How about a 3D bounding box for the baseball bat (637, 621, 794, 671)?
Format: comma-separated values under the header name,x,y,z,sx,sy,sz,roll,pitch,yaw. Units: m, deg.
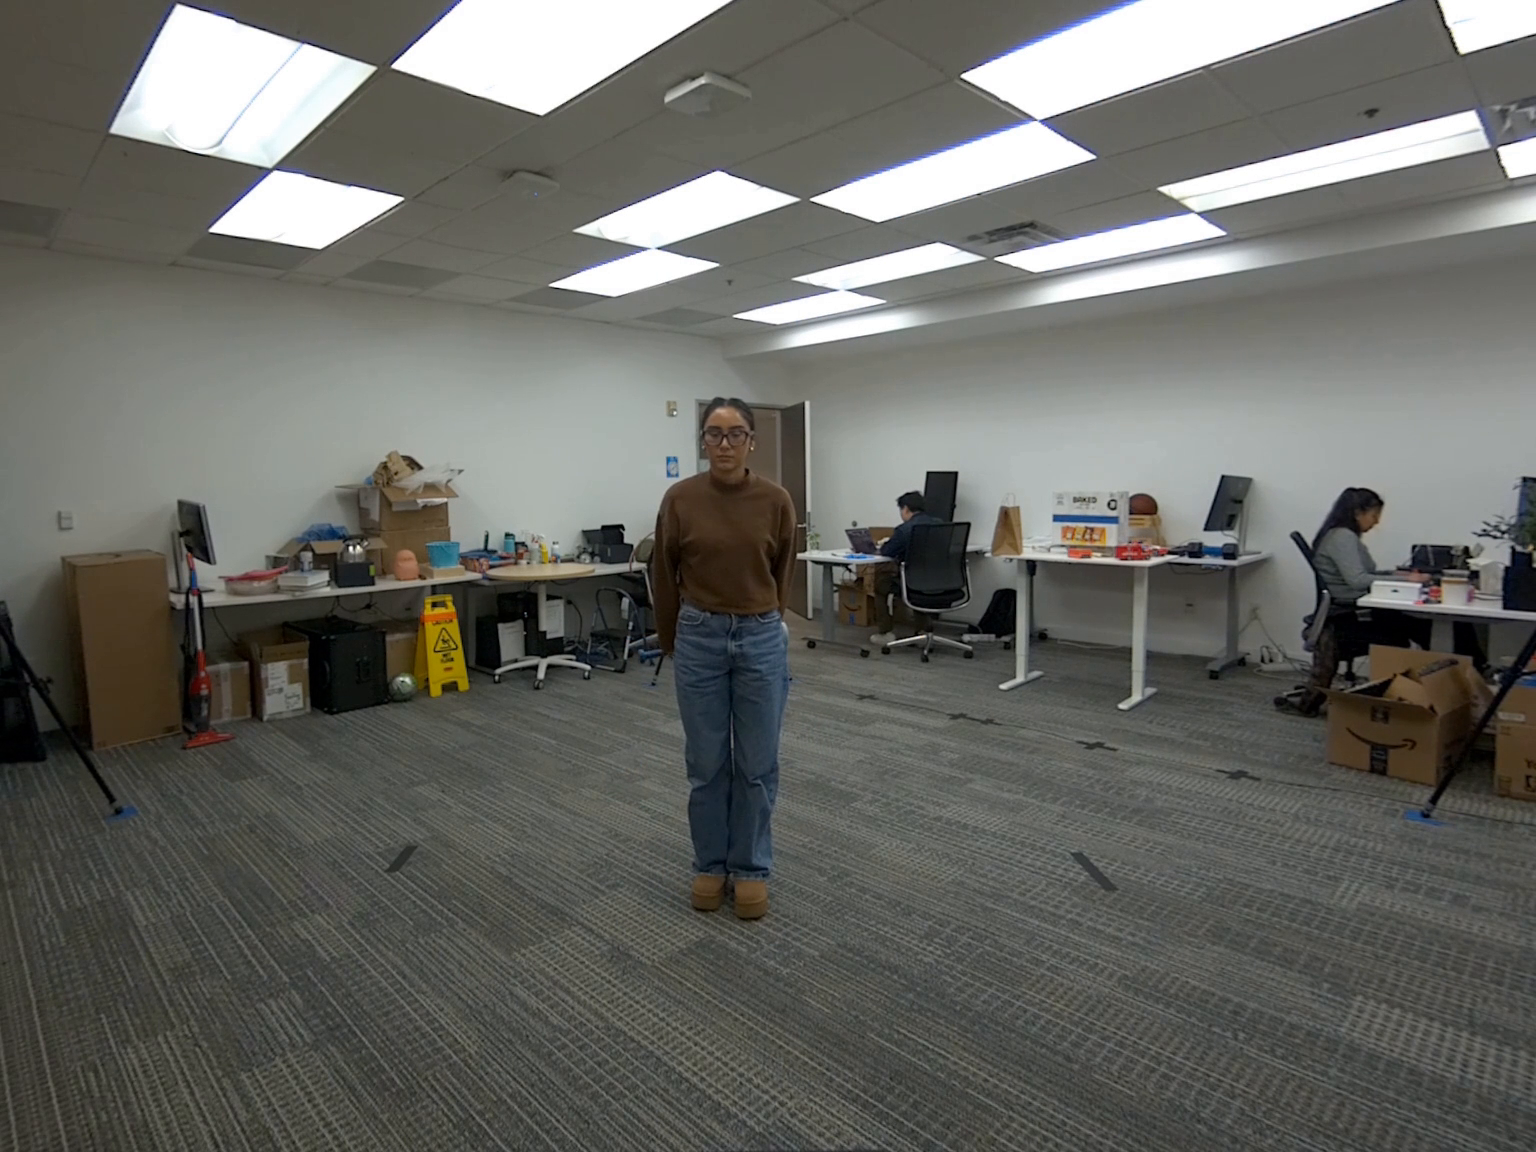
name,x,y,z,sx,sy,sz,roll,pitch,yaw
baseball bat,-0.189,0.246,3.051,0.542,0.089,0.089,-7,5,-2
